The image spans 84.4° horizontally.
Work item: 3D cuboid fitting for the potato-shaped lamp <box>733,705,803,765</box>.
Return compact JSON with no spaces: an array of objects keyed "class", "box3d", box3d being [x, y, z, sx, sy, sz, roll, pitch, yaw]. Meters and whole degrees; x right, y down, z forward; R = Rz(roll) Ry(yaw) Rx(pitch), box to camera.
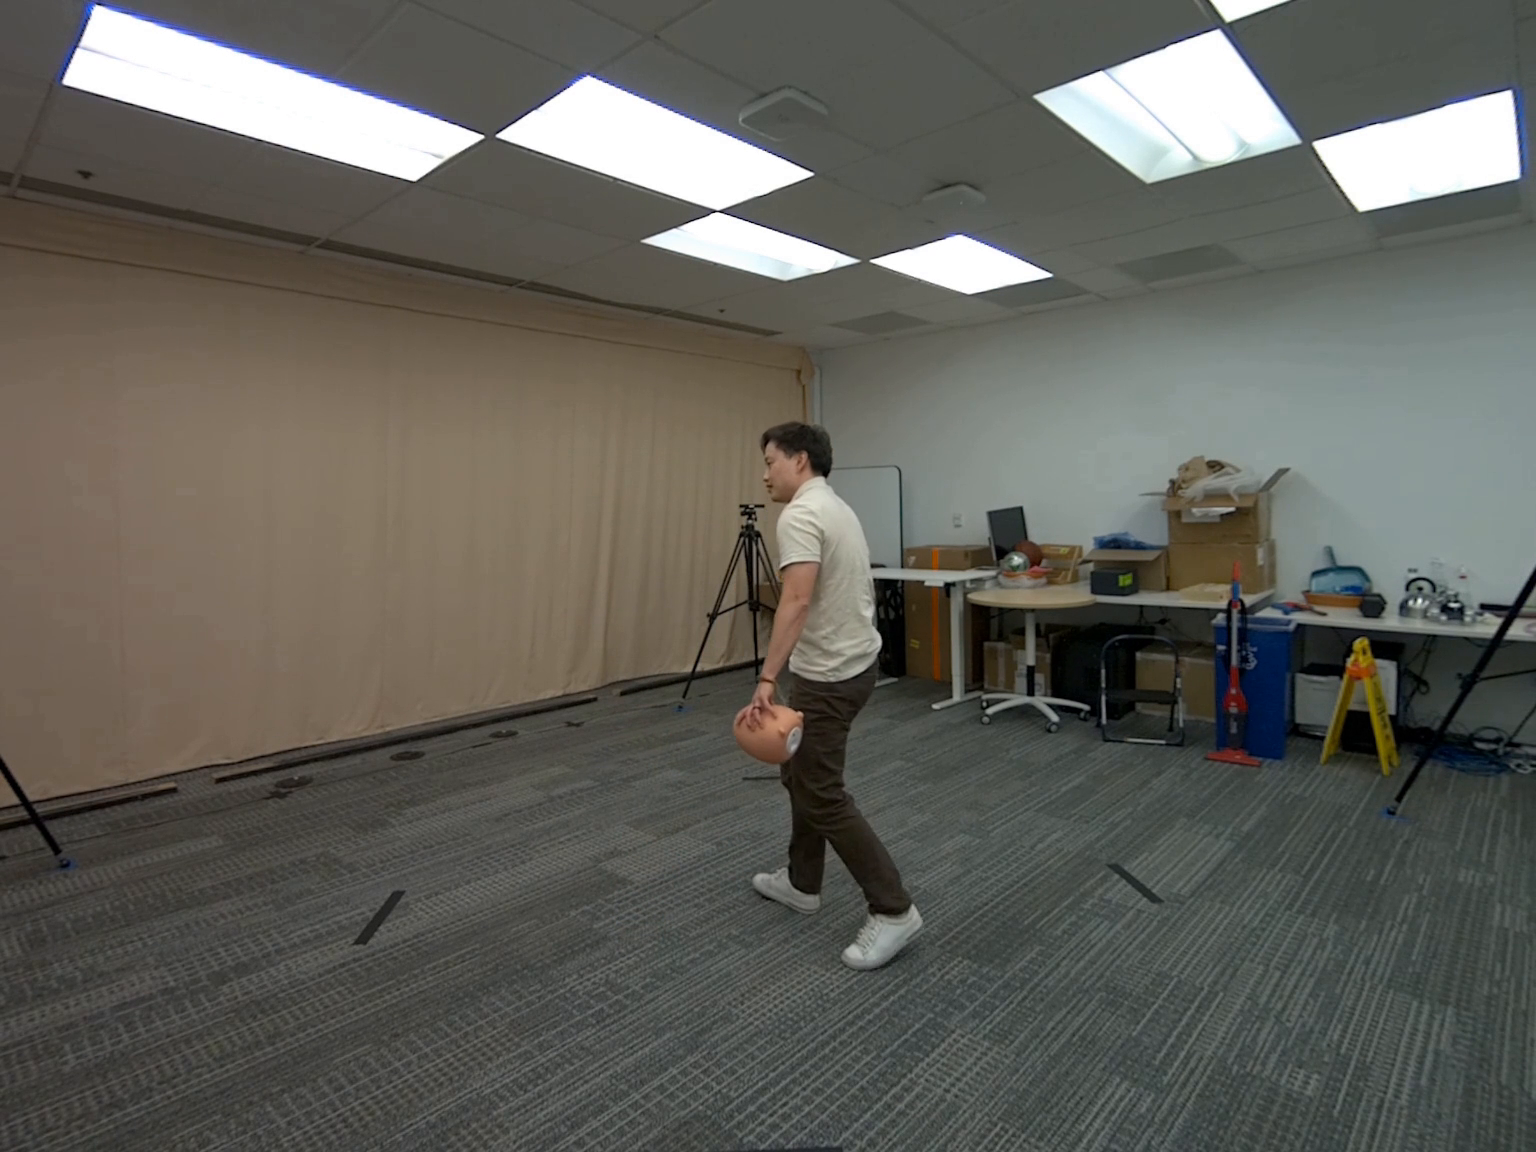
[{"class":"potato-shaped lamp","box3d":[0.002,0.460,2.470,0.204,0.169,0.162,15,27,26]}]
